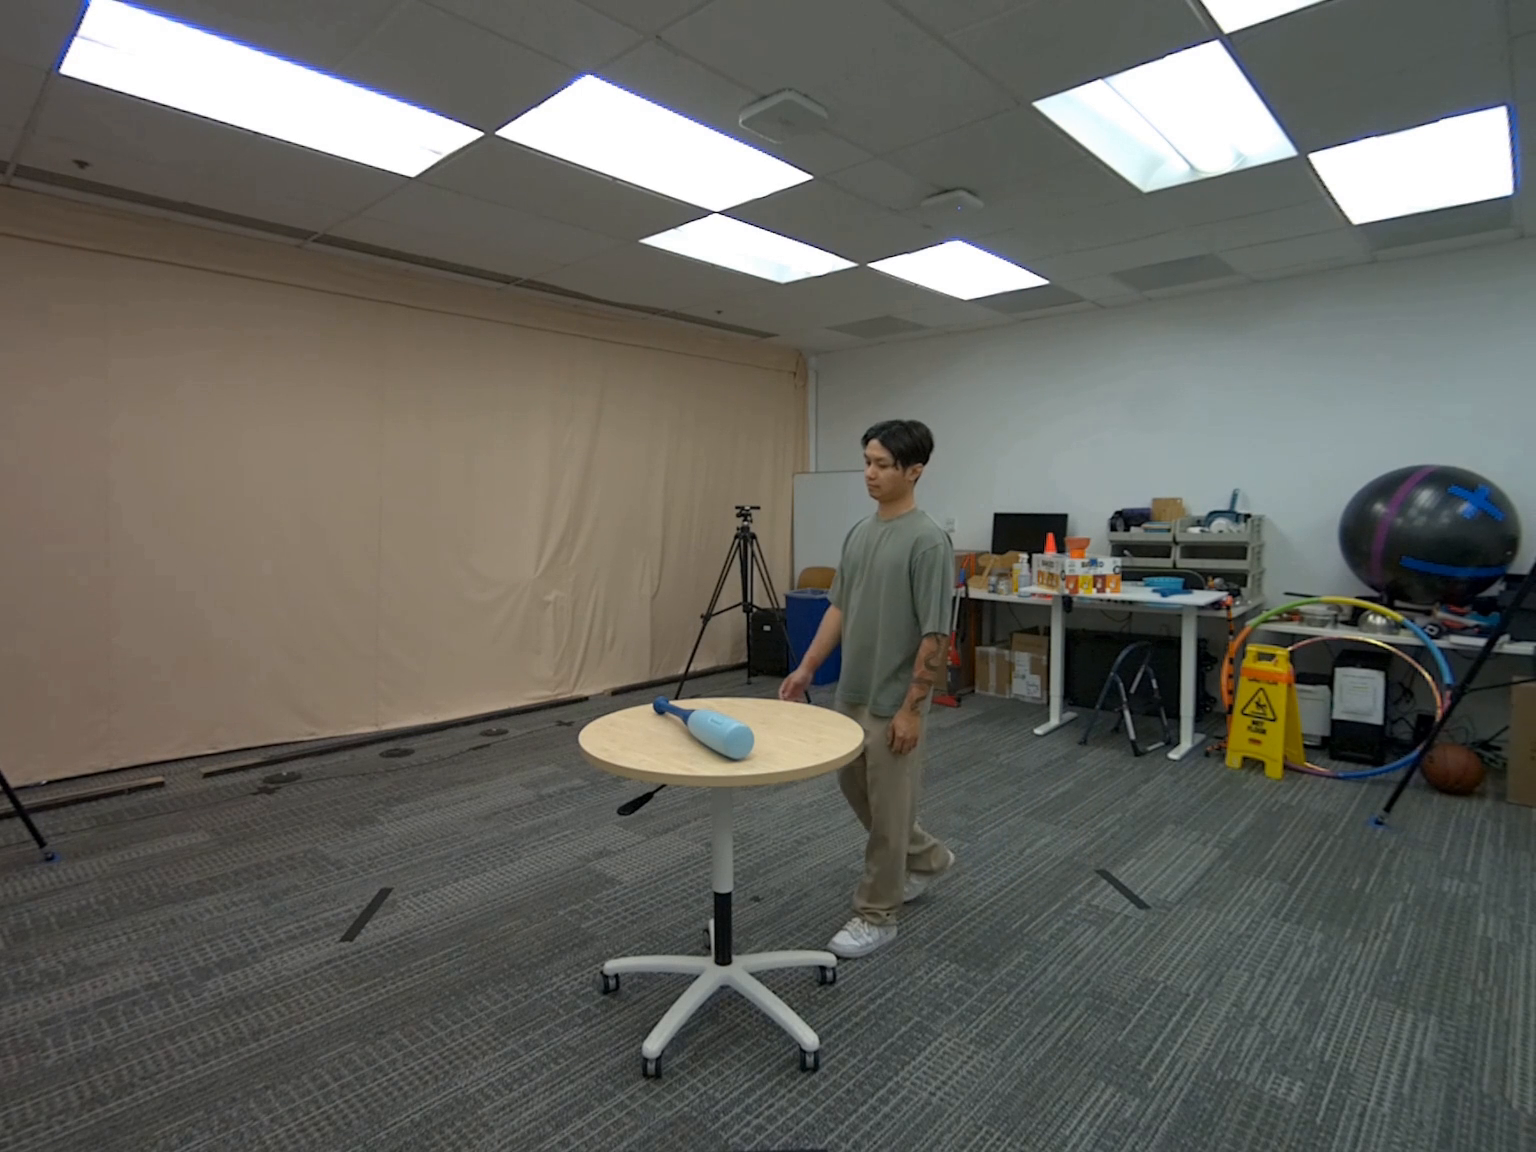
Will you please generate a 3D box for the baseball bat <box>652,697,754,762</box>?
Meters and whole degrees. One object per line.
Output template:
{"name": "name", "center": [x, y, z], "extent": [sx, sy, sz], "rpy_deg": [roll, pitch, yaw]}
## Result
{"name": "baseball bat", "center": [-0.187, 0.389, 2.235], "extent": [0.087, 0.089, 0.557], "rpy_deg": [-2, 2, -28]}
